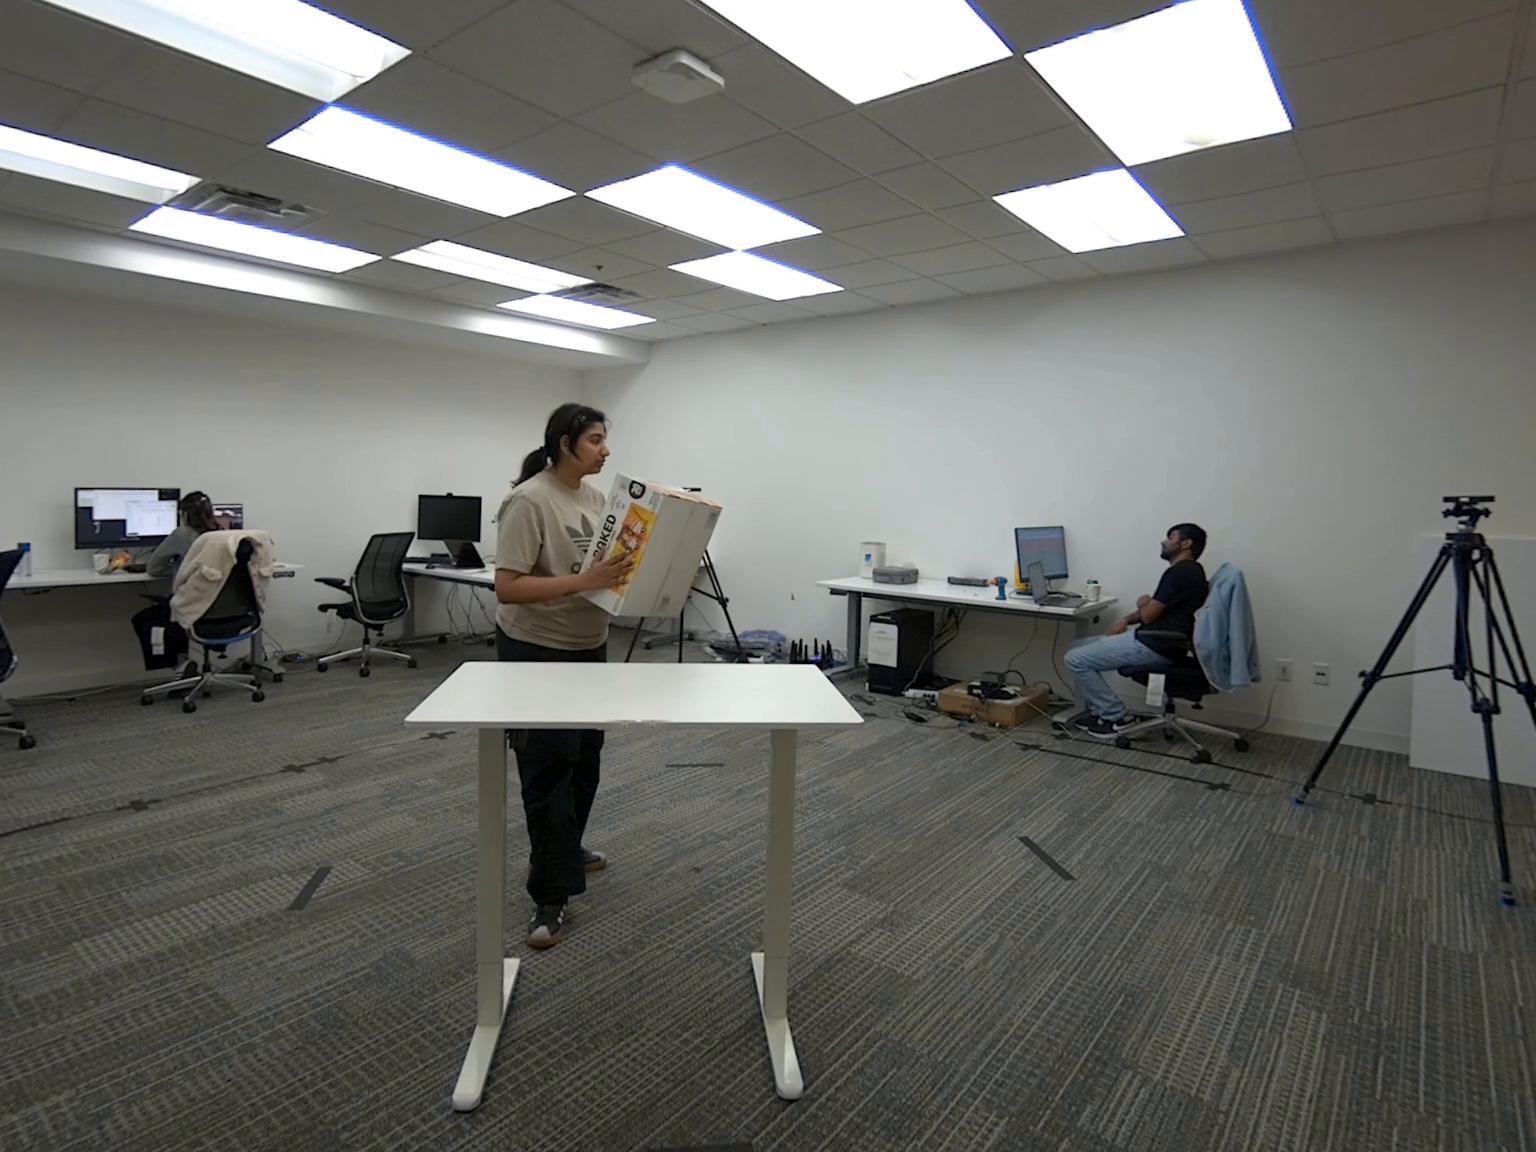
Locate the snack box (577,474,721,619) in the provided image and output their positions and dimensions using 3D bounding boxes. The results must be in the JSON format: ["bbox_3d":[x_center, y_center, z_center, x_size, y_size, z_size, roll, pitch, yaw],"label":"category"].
[{"bbox_3d":[-0.393,-0.090,2.760,0.213,0.403,0.329,26,8,29],"label":"snack box"}]
